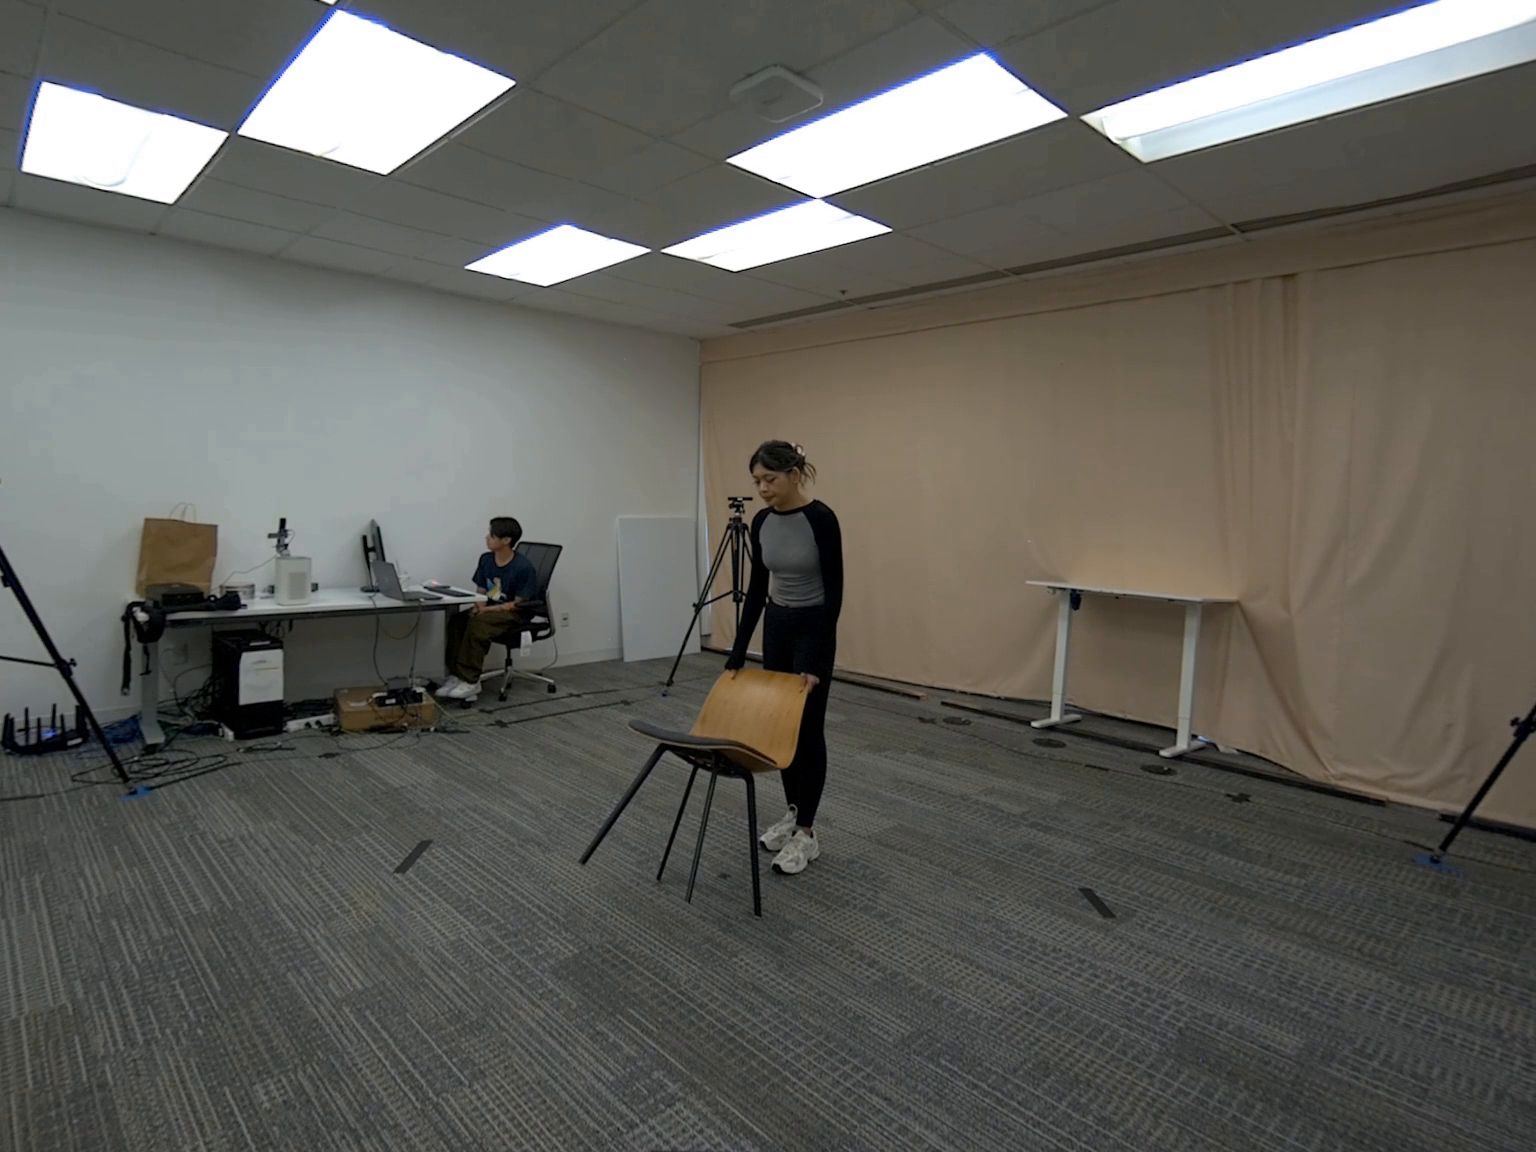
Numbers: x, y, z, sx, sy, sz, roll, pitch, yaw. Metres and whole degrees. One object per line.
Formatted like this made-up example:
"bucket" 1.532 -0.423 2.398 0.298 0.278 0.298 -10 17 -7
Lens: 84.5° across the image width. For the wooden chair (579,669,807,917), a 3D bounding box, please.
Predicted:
"wooden chair" -0.213 0.643 2.878 0.489 0.885 0.506 3 -27 34
